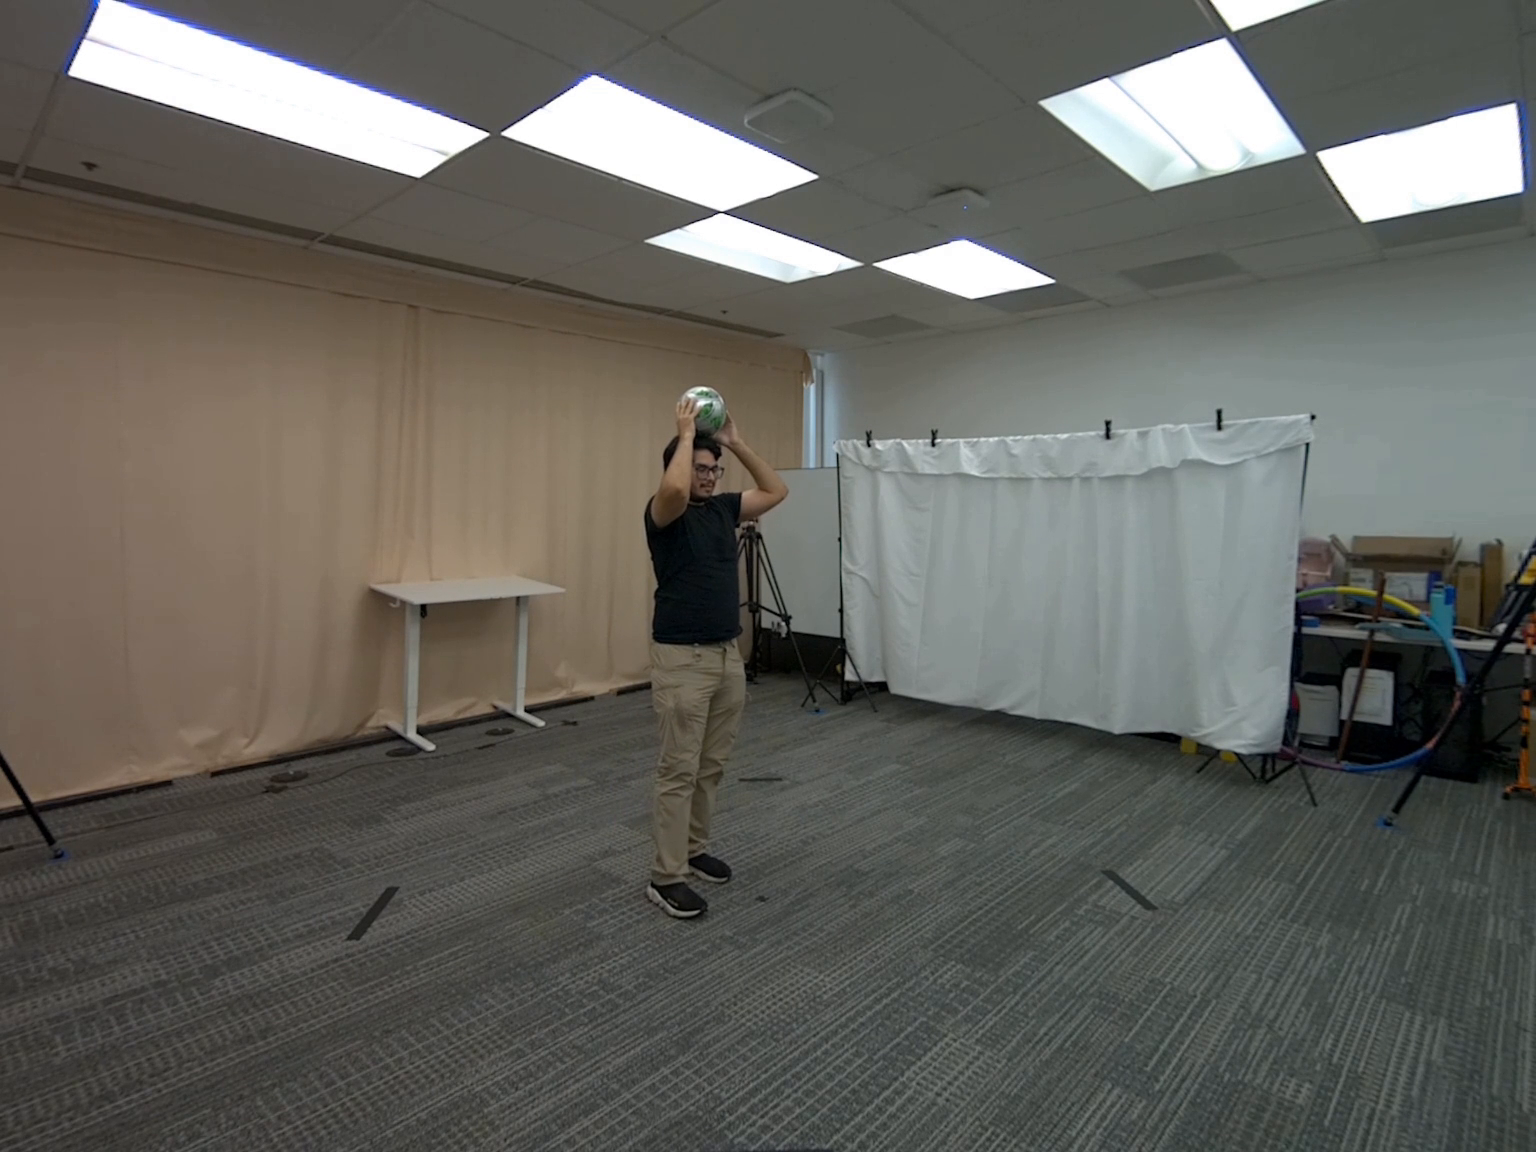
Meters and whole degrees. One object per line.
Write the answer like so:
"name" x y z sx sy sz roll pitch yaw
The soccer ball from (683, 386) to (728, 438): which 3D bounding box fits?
"soccer ball" -0.244 -0.595 3.077 0.187 0.187 0.188 0 4 -2
